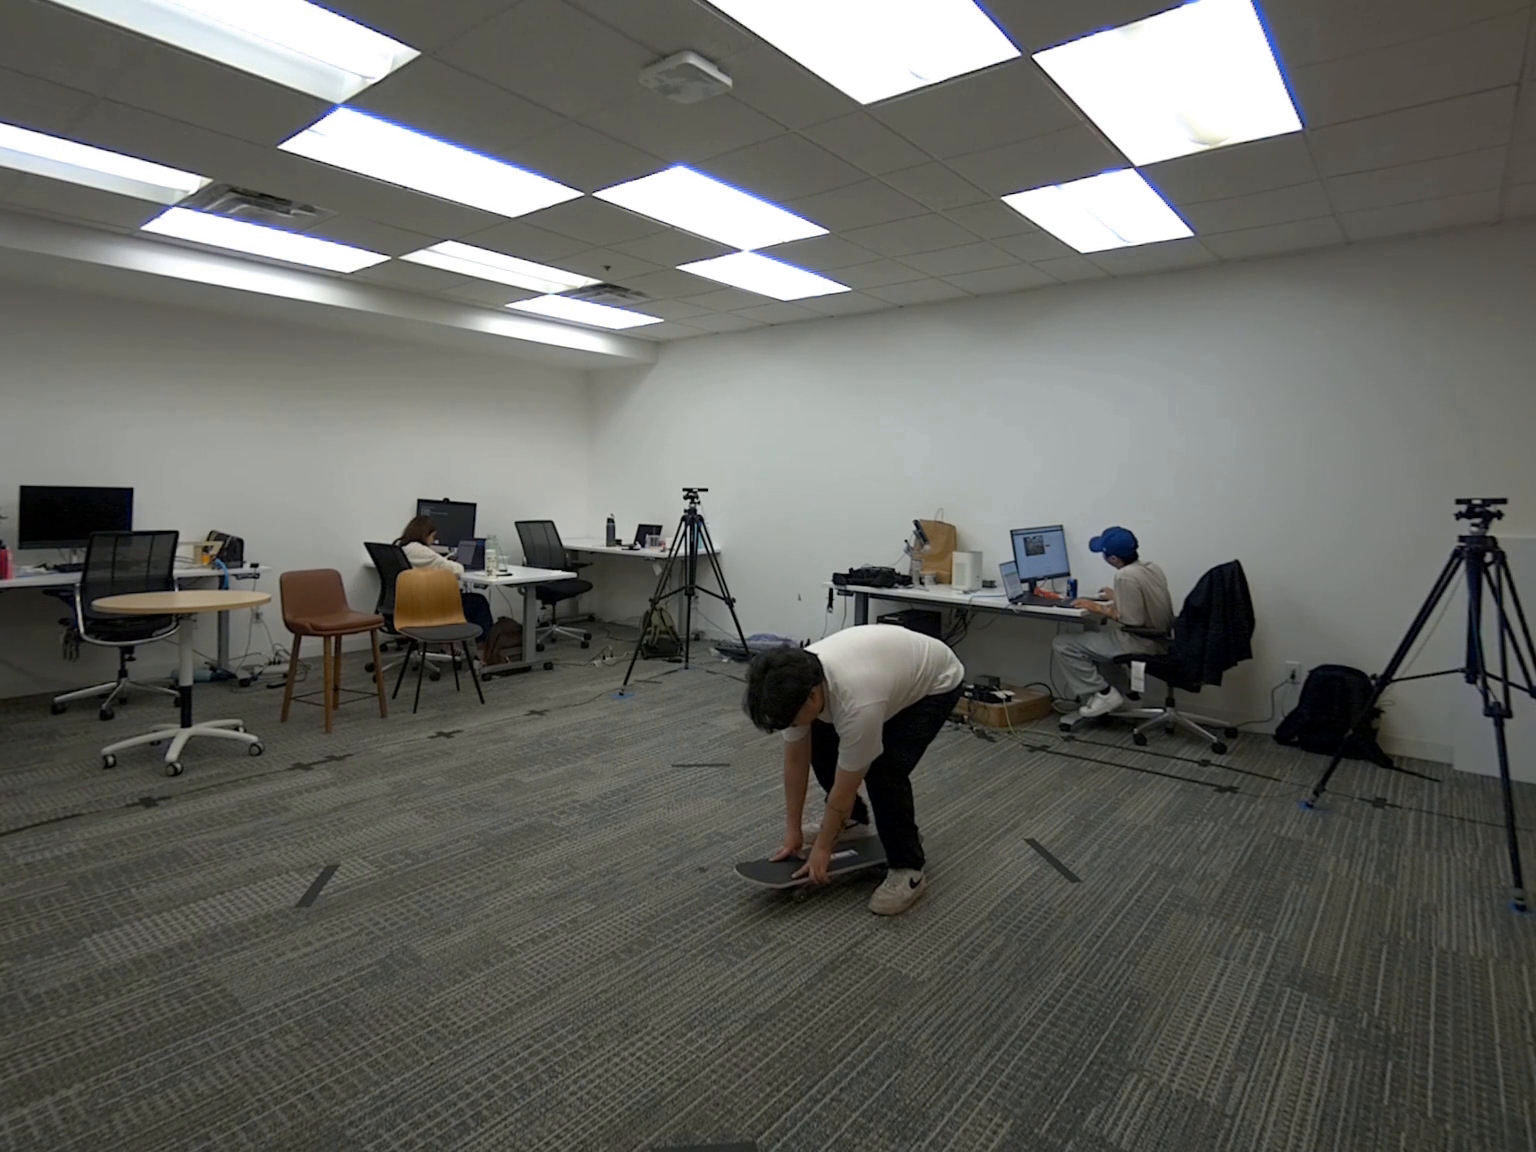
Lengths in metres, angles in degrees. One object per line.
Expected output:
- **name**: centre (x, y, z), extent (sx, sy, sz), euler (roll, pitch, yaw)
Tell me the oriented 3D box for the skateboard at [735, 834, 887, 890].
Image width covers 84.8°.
- **skateboard**: centre (0.222, 1.037, 3.040), extent (0.765, 0.110, 0.199), euler (-1, 6, -29)
